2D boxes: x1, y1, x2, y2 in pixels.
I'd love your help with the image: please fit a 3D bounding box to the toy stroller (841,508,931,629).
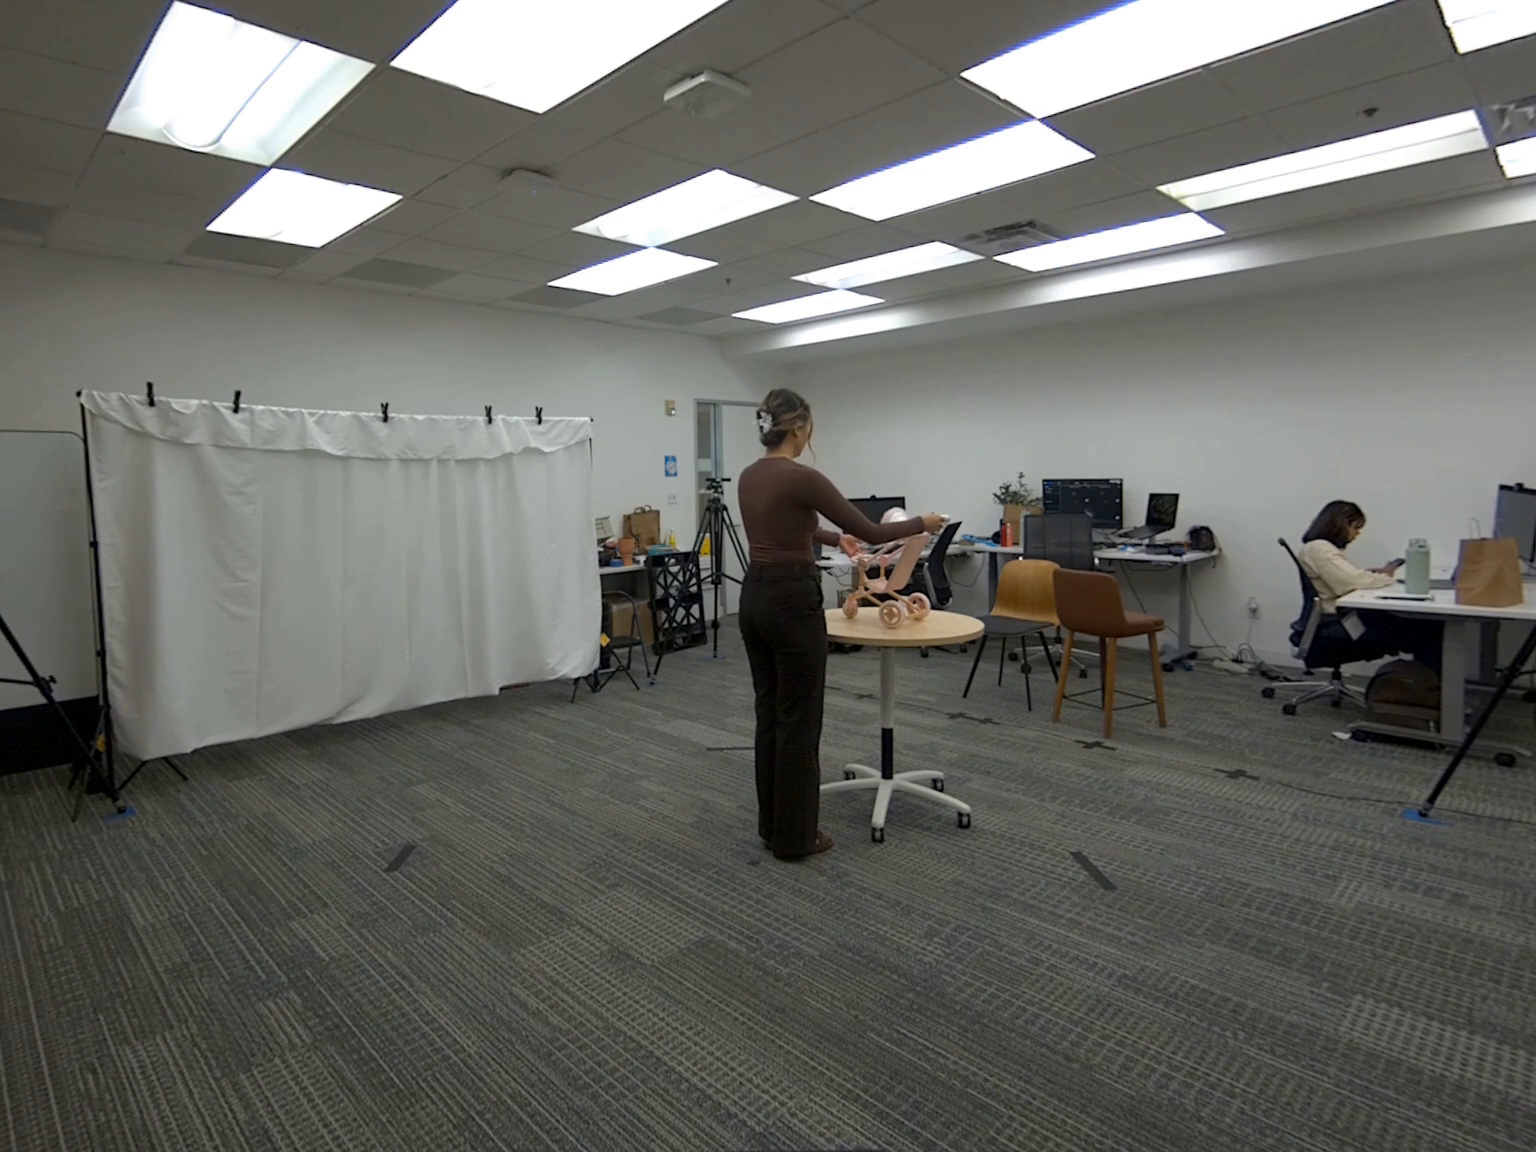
[{"bbox_3d":[0.499,-0.036,3.492,0.354,0.530,0.274,21,17,38],"label":"toy stroller"}]
